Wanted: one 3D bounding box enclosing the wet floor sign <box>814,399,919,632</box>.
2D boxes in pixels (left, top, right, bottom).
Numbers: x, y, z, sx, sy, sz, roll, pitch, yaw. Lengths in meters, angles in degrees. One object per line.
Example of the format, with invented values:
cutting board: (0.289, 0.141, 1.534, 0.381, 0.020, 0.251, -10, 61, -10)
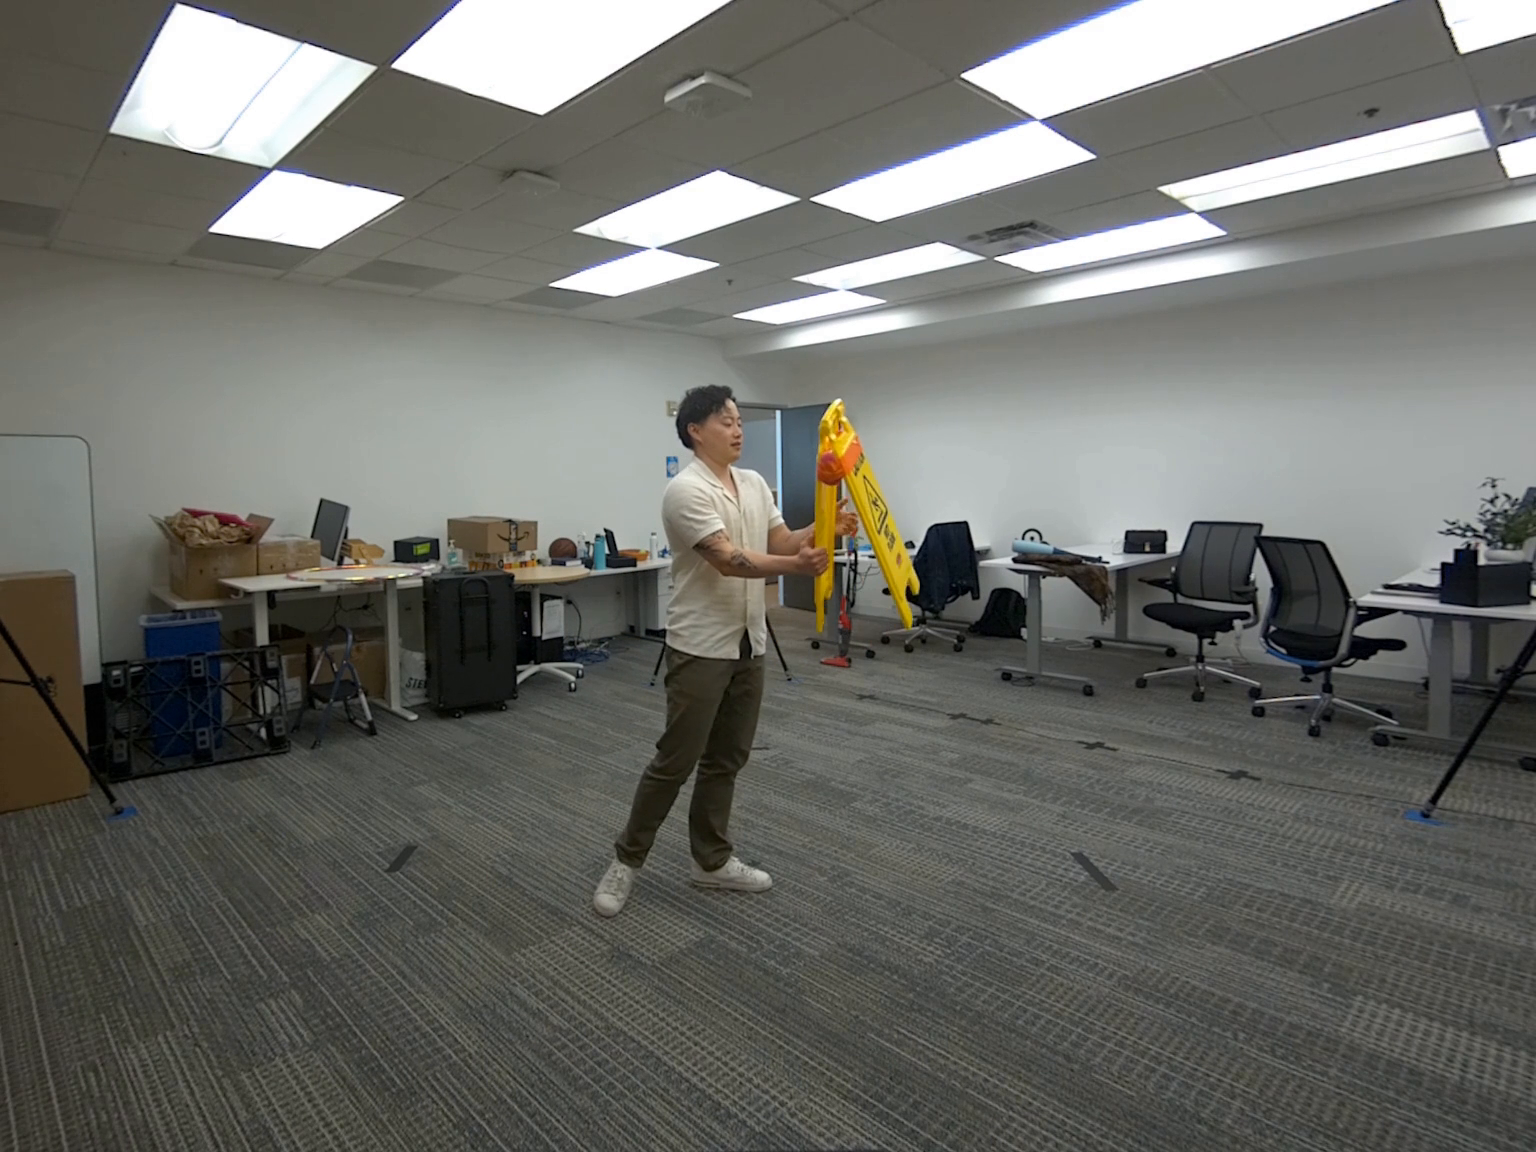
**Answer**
wet floor sign: (0.246, -0.183, 2.499, 0.295, 0.630, 0.284, -5, 25, 21)
